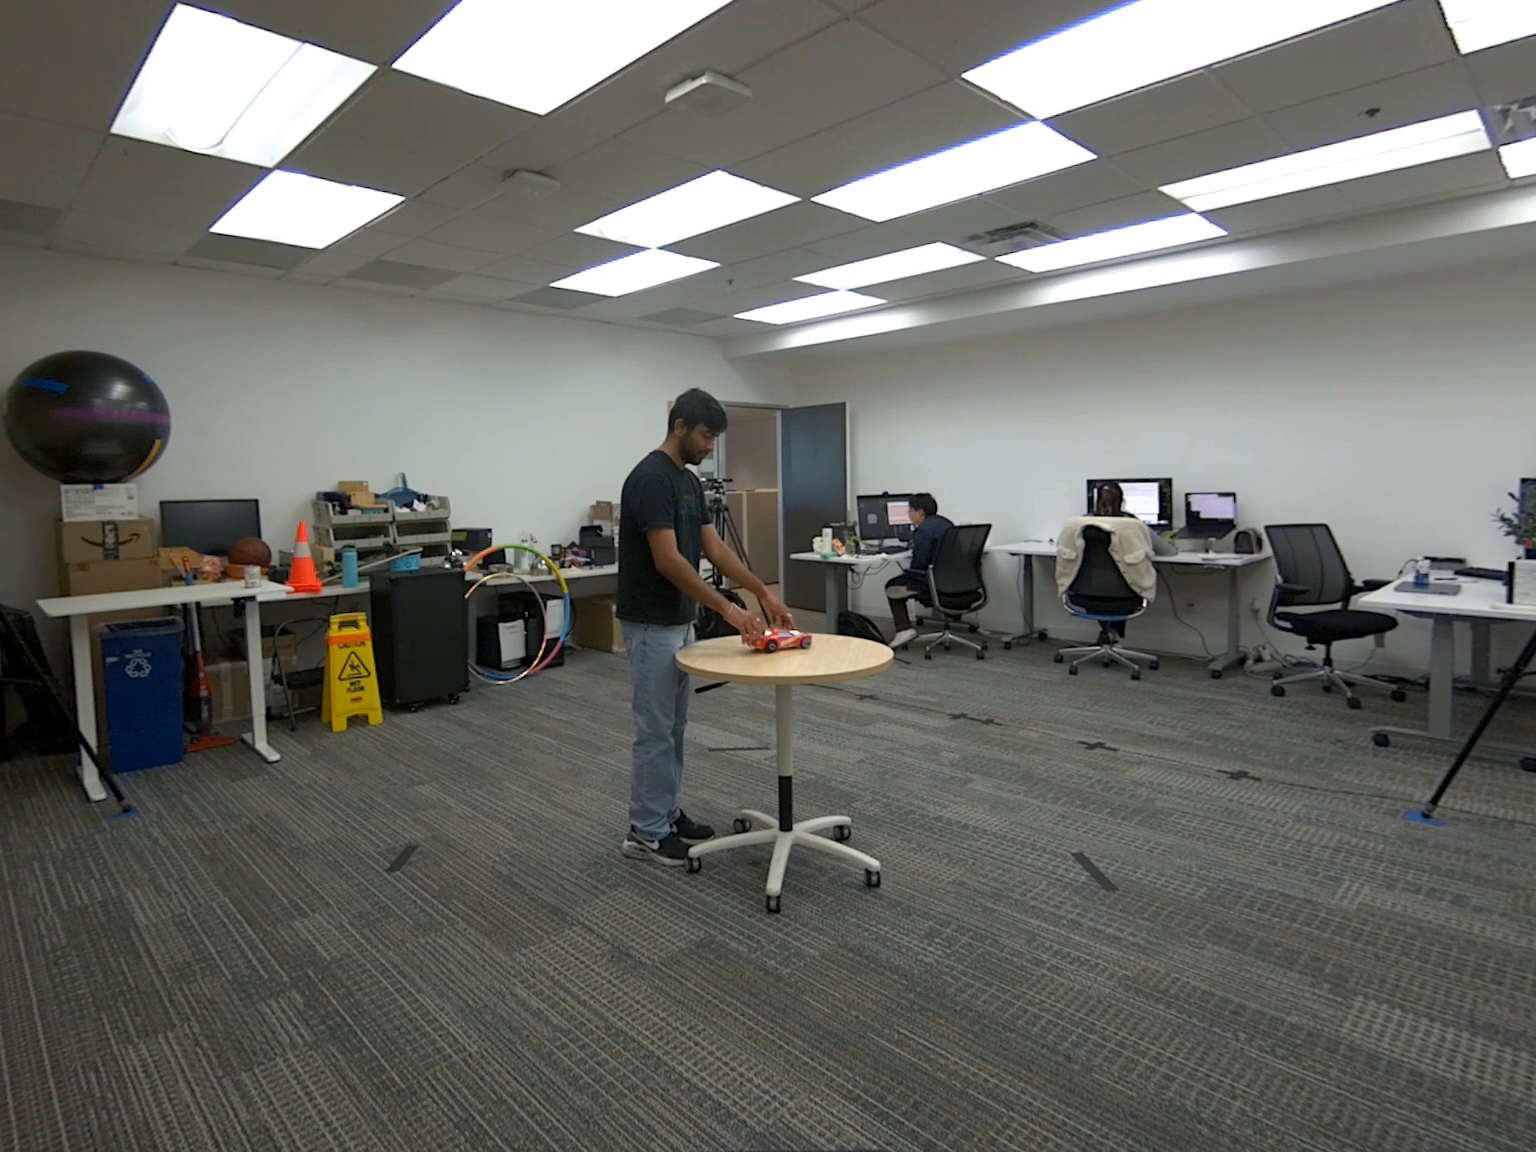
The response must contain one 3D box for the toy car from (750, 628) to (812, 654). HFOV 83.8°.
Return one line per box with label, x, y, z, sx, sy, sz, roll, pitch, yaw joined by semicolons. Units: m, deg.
toy car;0.026;0.230;3.067;0.248;0.083;0.133;9;0;-24
